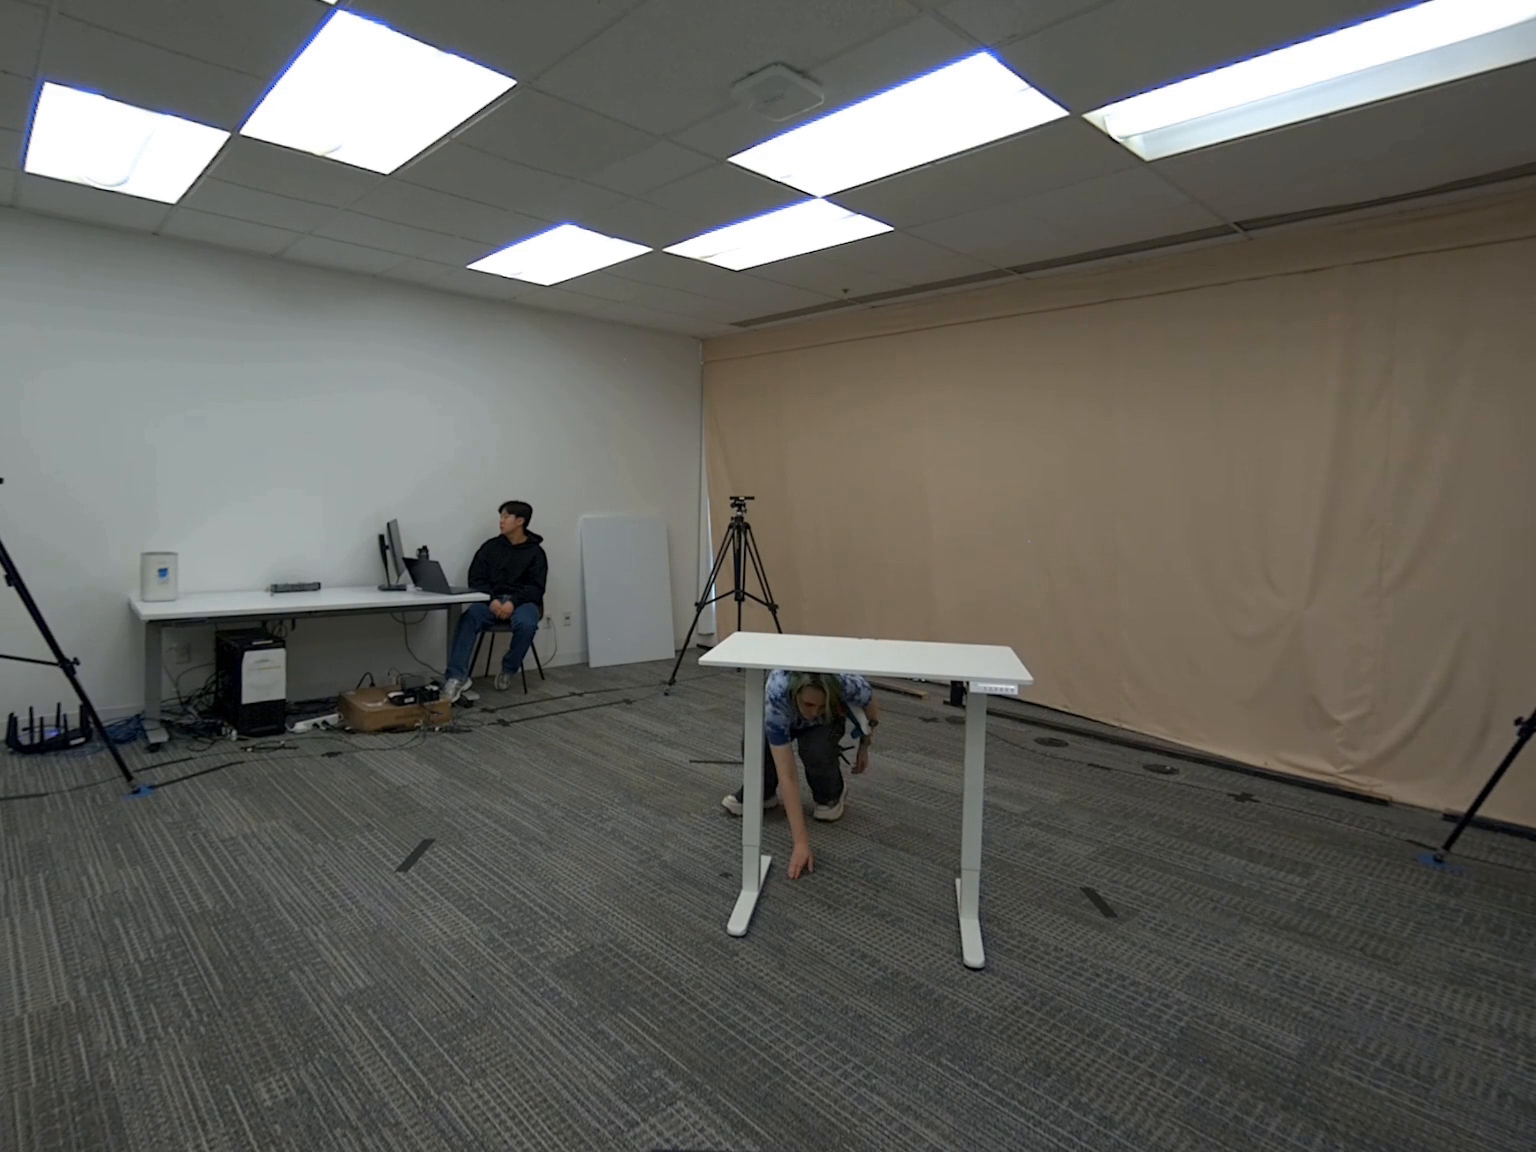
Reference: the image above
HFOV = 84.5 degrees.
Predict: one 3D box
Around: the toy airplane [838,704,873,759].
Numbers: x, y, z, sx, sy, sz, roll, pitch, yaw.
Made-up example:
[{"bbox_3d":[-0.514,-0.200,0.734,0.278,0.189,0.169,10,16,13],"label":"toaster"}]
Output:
[{"bbox_3d":[0.359,0.560,3.618,0.157,0.265,0.243,-21,-39,15],"label":"toy airplane"}]
